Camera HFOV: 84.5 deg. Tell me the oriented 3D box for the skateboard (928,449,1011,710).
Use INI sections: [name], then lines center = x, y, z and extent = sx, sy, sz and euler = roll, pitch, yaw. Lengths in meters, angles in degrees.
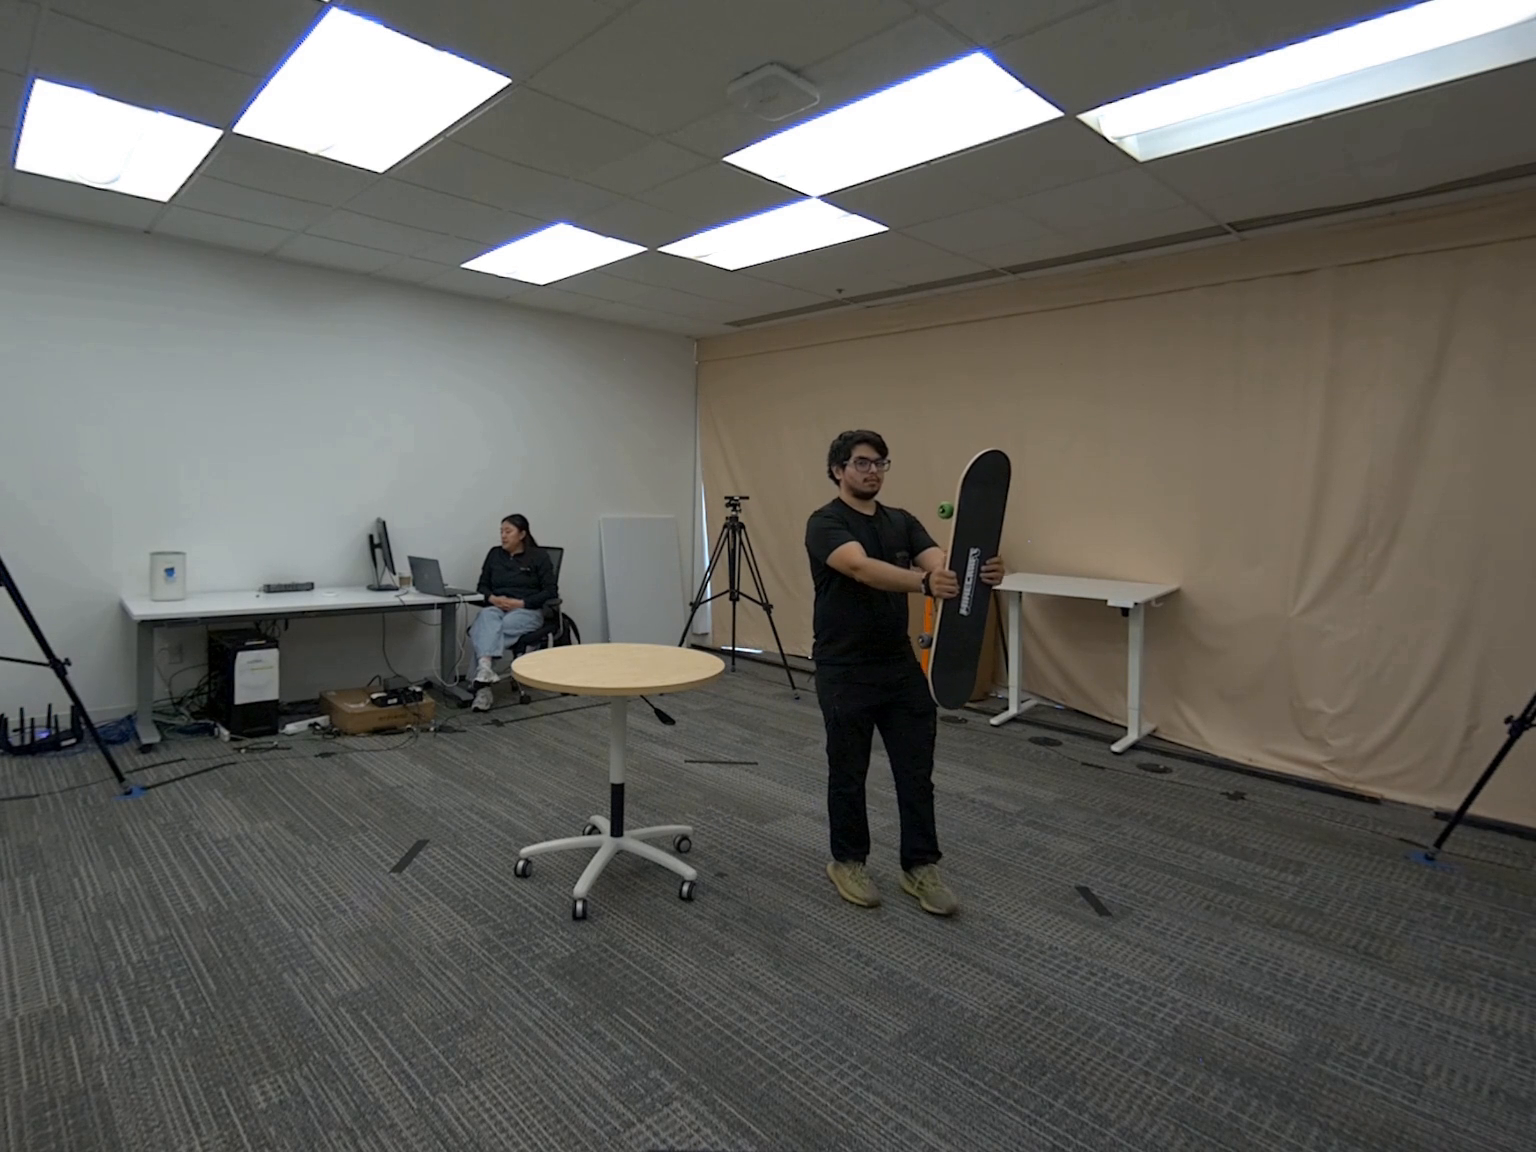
[skateboard]
center = 0.576, 0.012, 2.520
extent = 0.189, 0.781, 0.113
euler = 2, 10, -30
